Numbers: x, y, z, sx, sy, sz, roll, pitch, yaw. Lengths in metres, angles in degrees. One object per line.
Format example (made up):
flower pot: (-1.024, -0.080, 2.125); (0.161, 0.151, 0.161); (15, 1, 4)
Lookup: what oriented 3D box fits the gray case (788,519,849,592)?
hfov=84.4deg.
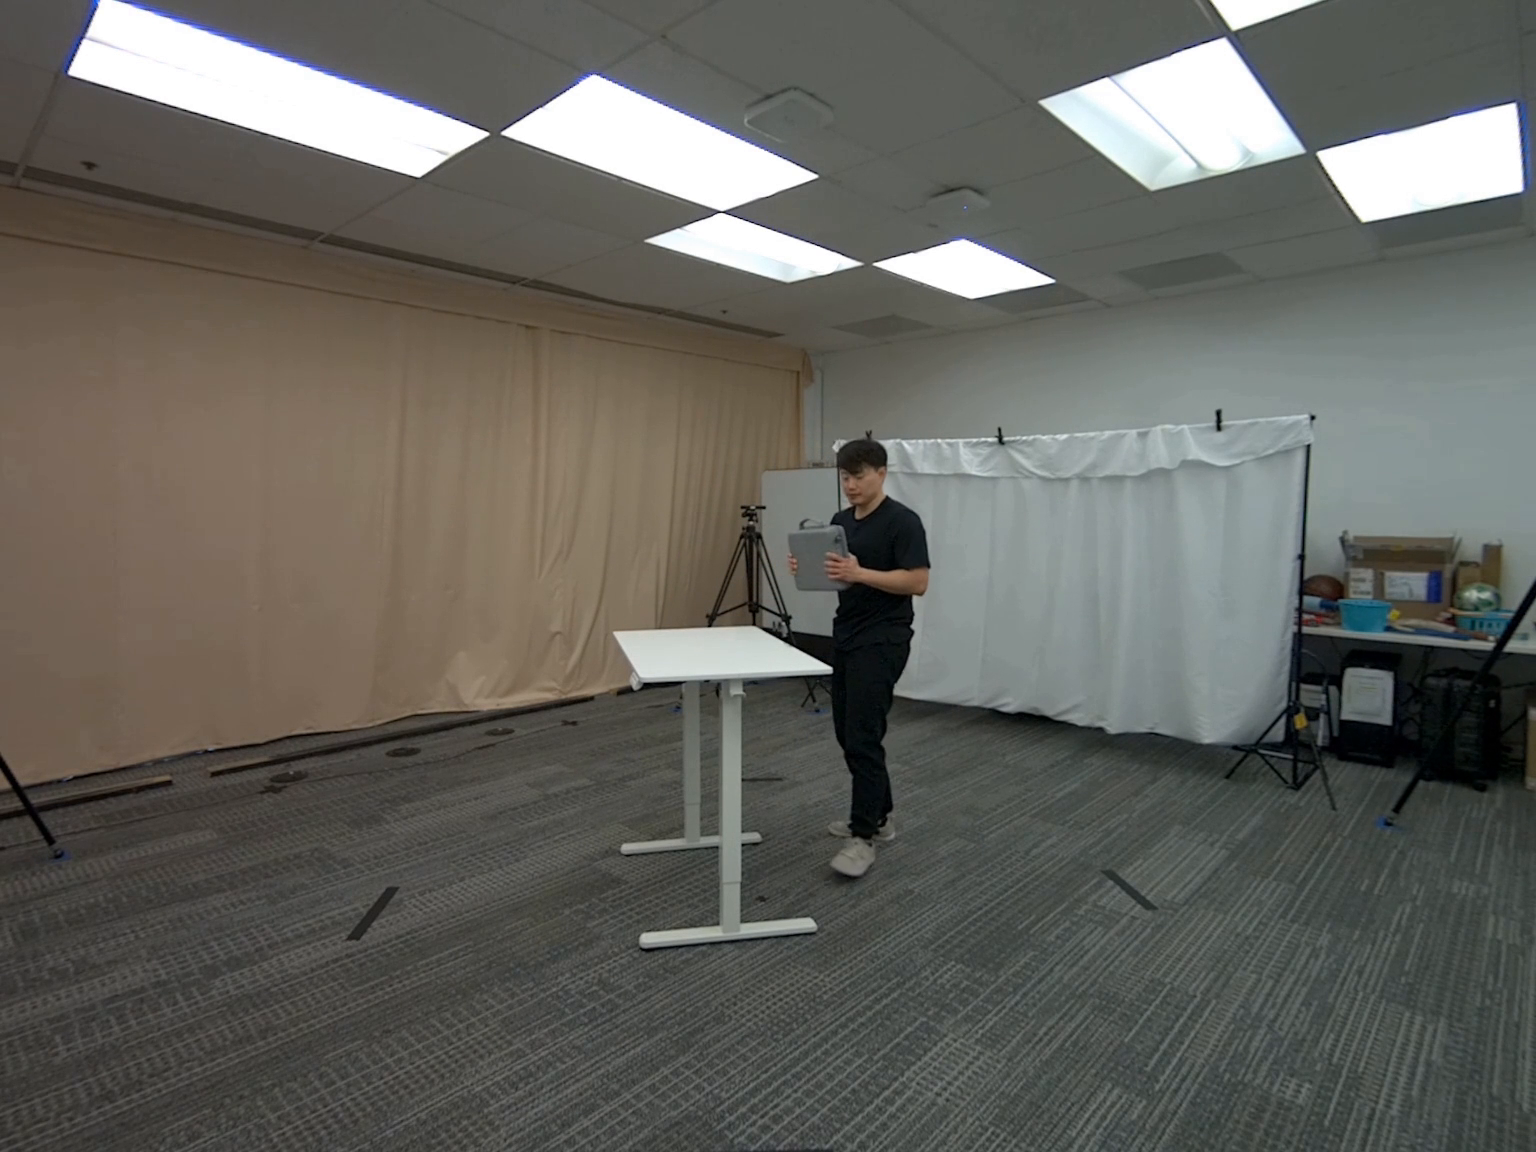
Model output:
gray case: (0.211, -0.070, 3.351); (0.101, 0.260, 0.264); (-12, 5, -39)
